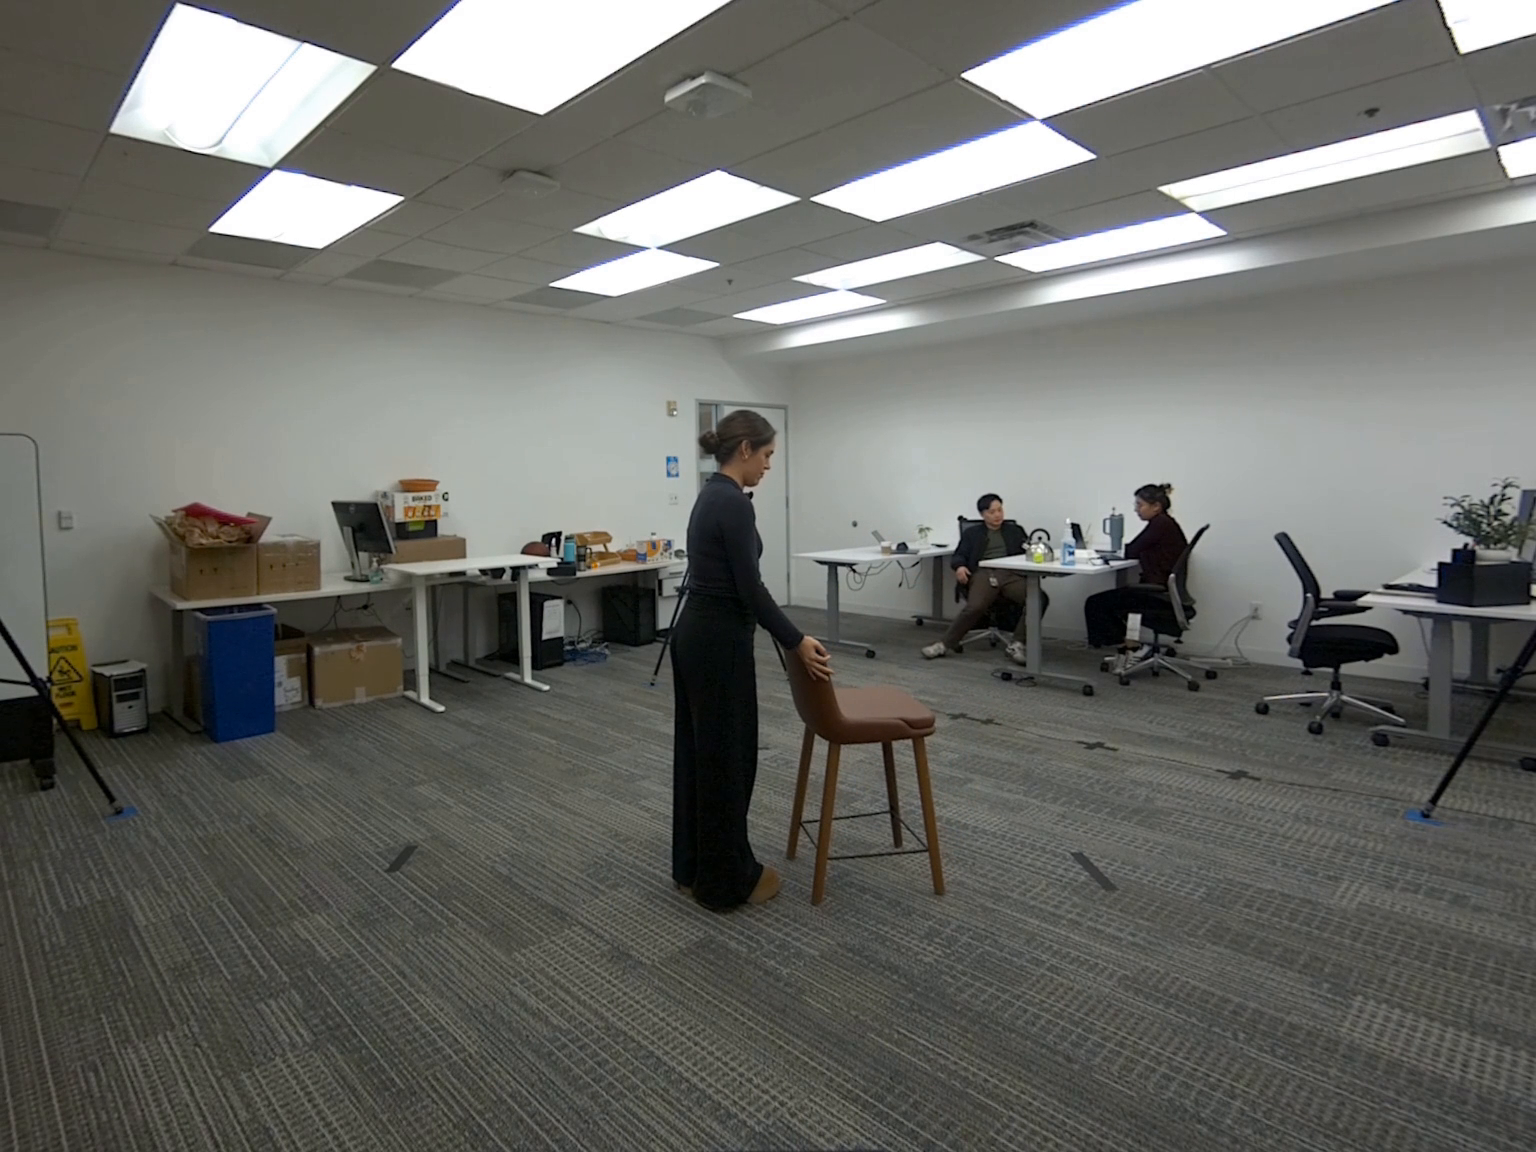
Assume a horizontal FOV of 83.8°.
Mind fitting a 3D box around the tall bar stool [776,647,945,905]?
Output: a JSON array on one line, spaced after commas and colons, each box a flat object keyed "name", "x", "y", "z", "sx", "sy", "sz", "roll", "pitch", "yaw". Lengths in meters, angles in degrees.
[{"name": "tall bar stool", "x": 0.309, "y": 0.611, "z": 2.980, "sx": 0.463, "sy": 0.886, "sz": 0.463, "roll": -4, "pitch": 5, "yaw": -11}]
